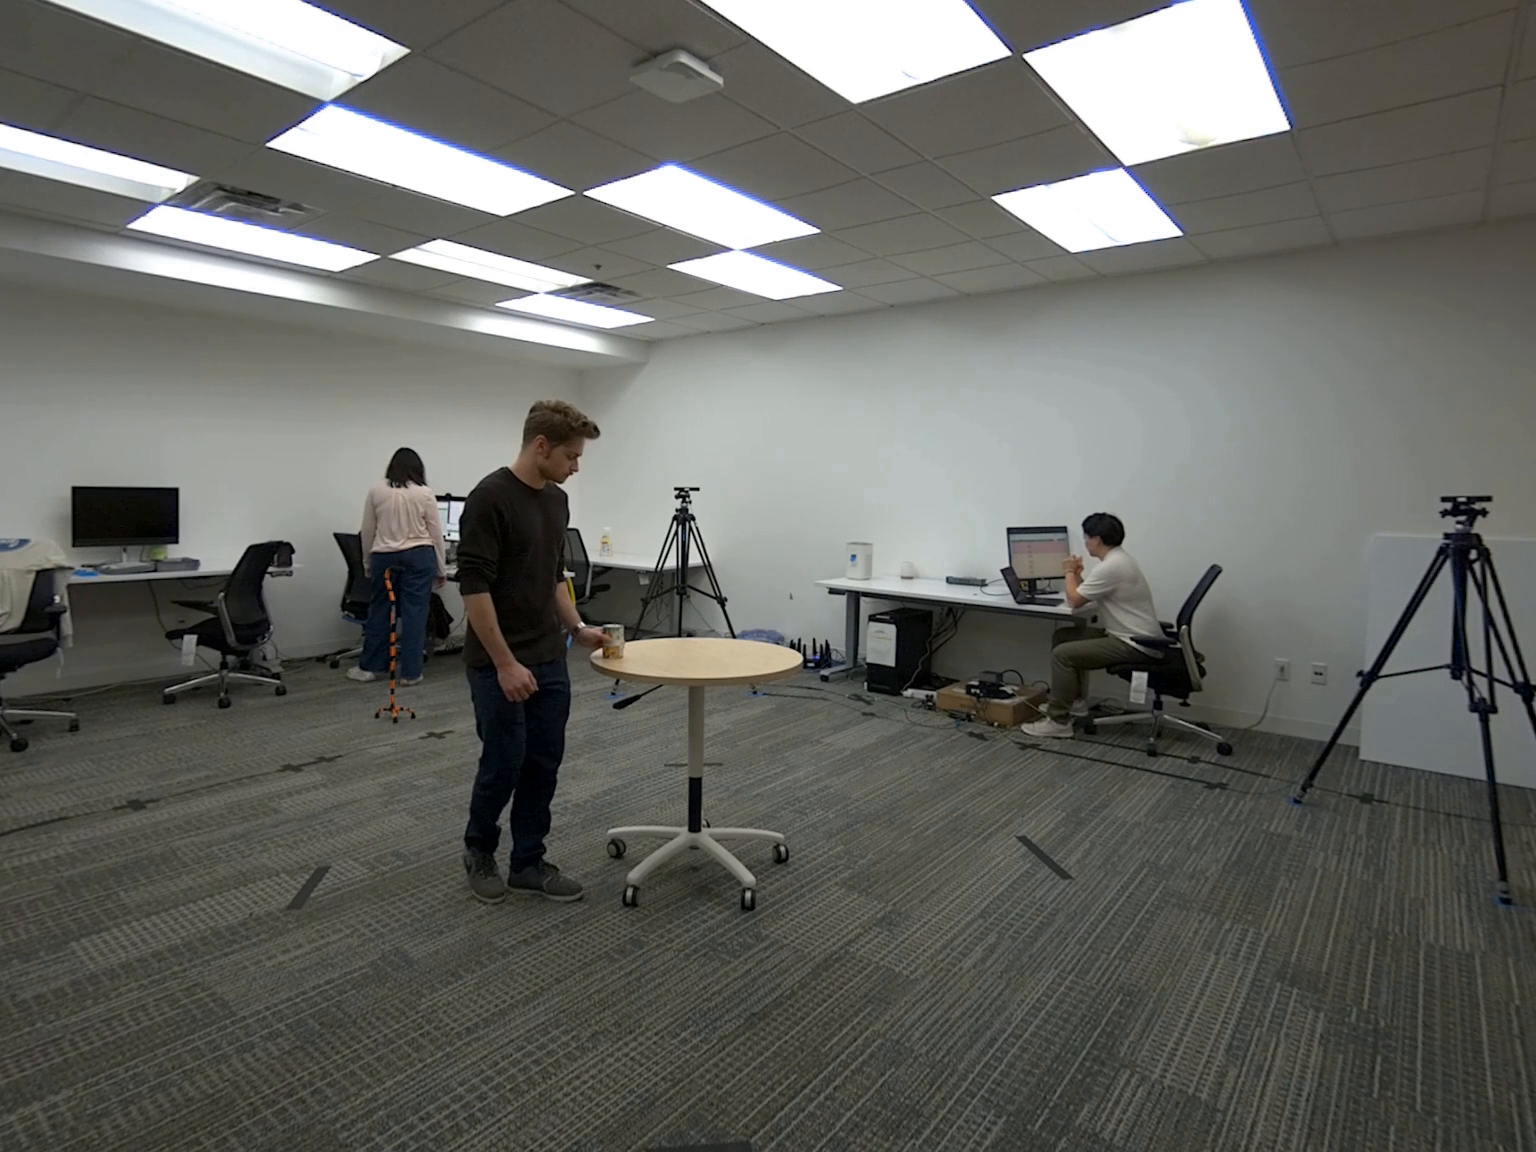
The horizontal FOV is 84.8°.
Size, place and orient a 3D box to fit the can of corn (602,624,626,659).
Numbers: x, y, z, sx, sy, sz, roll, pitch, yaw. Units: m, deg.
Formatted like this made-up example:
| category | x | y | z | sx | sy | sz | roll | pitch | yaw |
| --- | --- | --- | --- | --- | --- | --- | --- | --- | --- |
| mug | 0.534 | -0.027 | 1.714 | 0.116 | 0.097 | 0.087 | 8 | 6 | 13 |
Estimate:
| category | x | y | z | sx | sy | sz | roll | pitch | yaw |
| --- | --- | --- | --- | --- | --- | --- | --- | --- | --- |
| can of corn | -0.568 | 0.232 | 3.017 | 0.074 | 0.111 | 0.074 | 2 | 4 | -2 |
